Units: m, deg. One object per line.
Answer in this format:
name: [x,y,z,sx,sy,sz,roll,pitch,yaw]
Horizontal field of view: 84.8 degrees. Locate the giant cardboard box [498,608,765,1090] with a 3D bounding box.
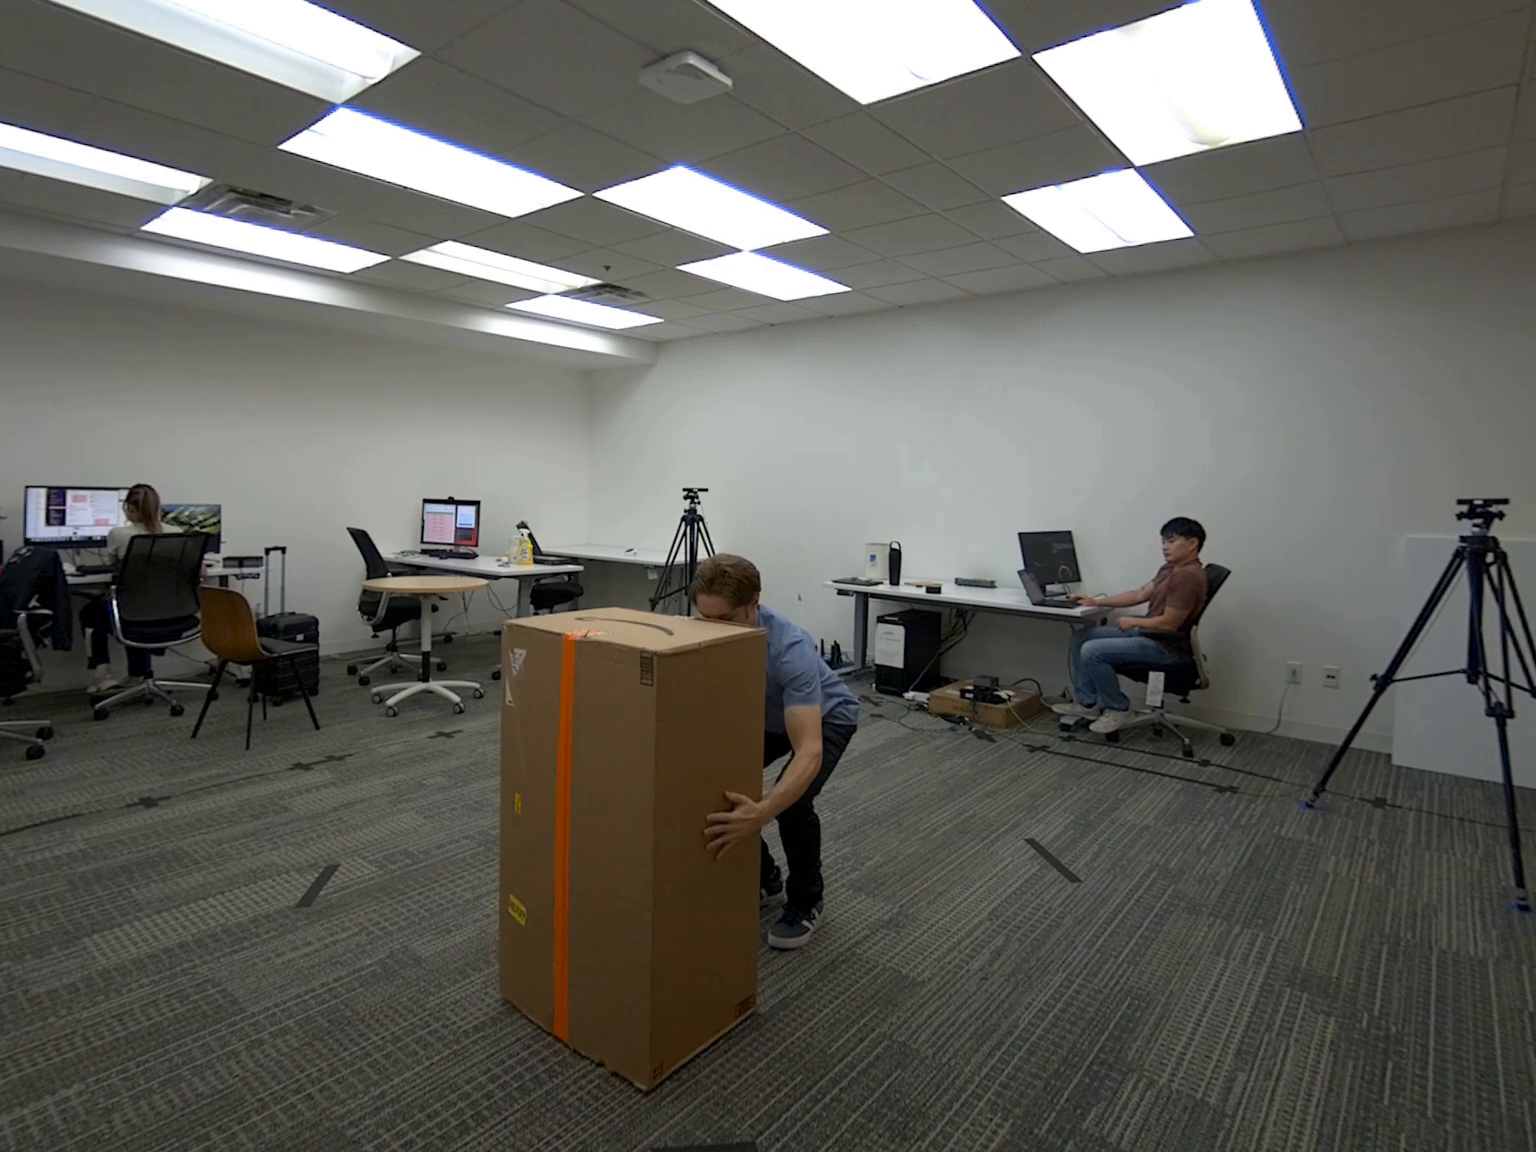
giant cardboard box: [-0.375,0.631,2.247,0.597,1.023,0.413,4,3,38]
